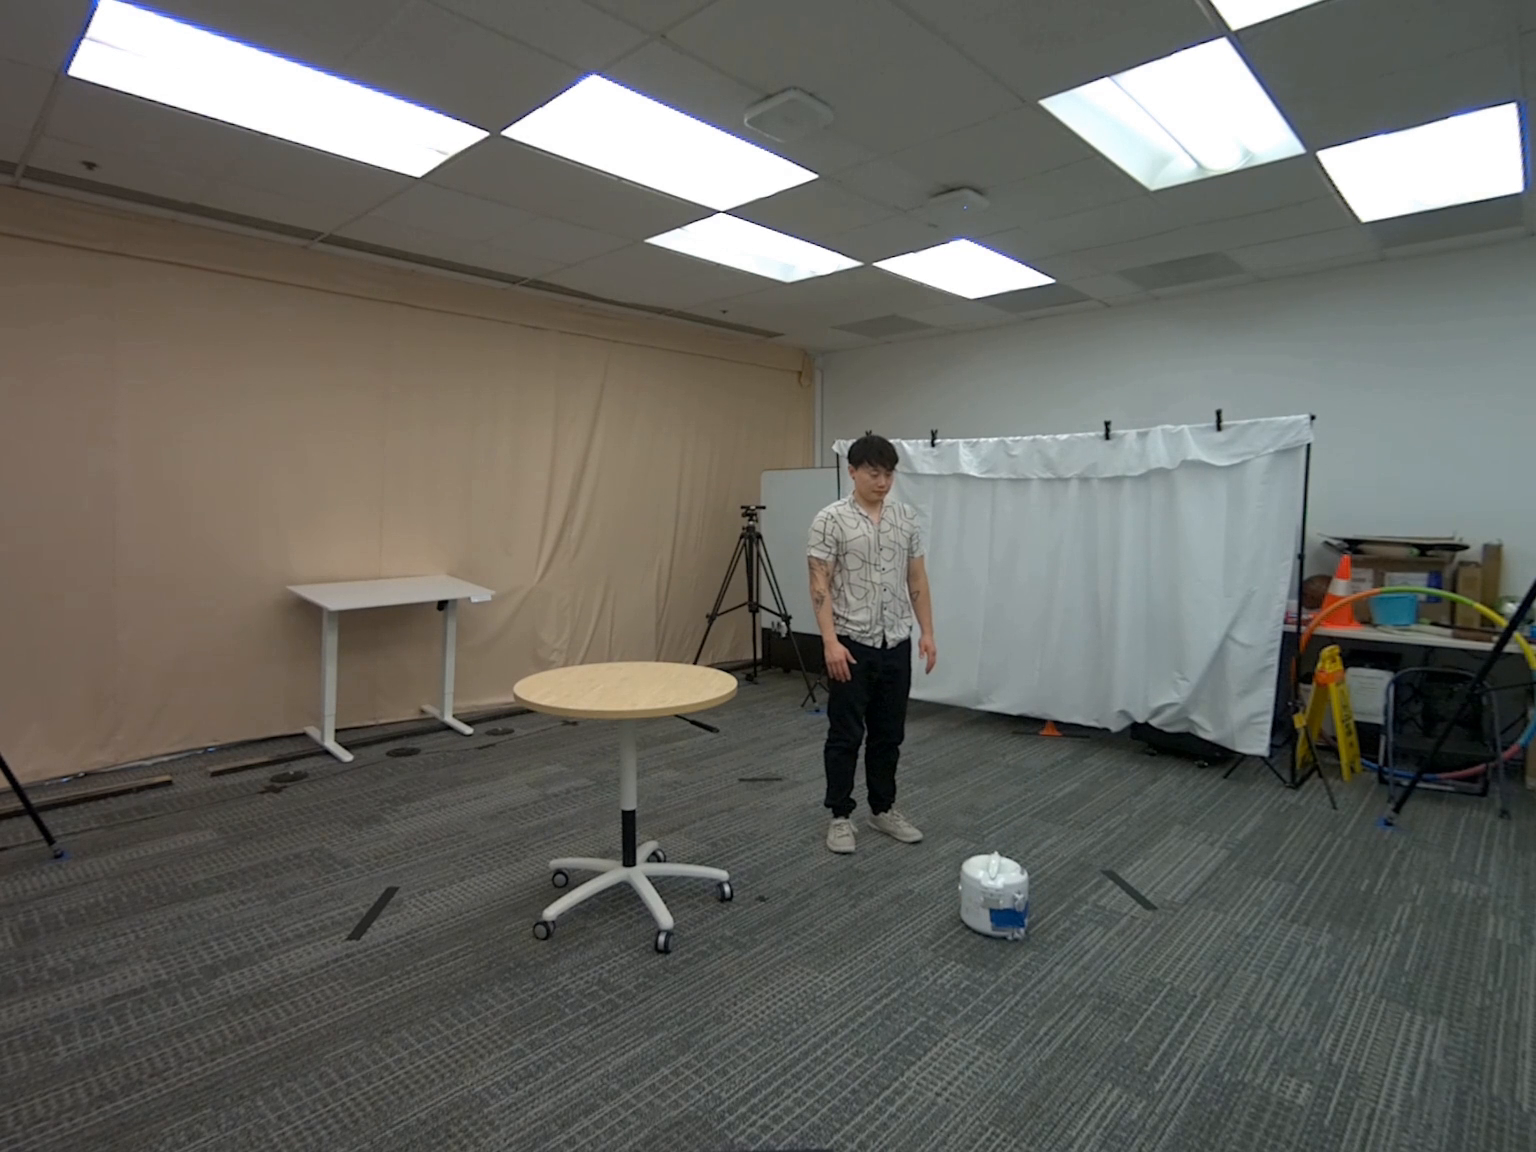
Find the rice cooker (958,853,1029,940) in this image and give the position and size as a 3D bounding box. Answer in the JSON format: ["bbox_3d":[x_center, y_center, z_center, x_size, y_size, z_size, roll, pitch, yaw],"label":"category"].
[{"bbox_3d":[0.742,1.036,2.781,0.222,0.232,0.216,2,5,21],"label":"rice cooker"}]
